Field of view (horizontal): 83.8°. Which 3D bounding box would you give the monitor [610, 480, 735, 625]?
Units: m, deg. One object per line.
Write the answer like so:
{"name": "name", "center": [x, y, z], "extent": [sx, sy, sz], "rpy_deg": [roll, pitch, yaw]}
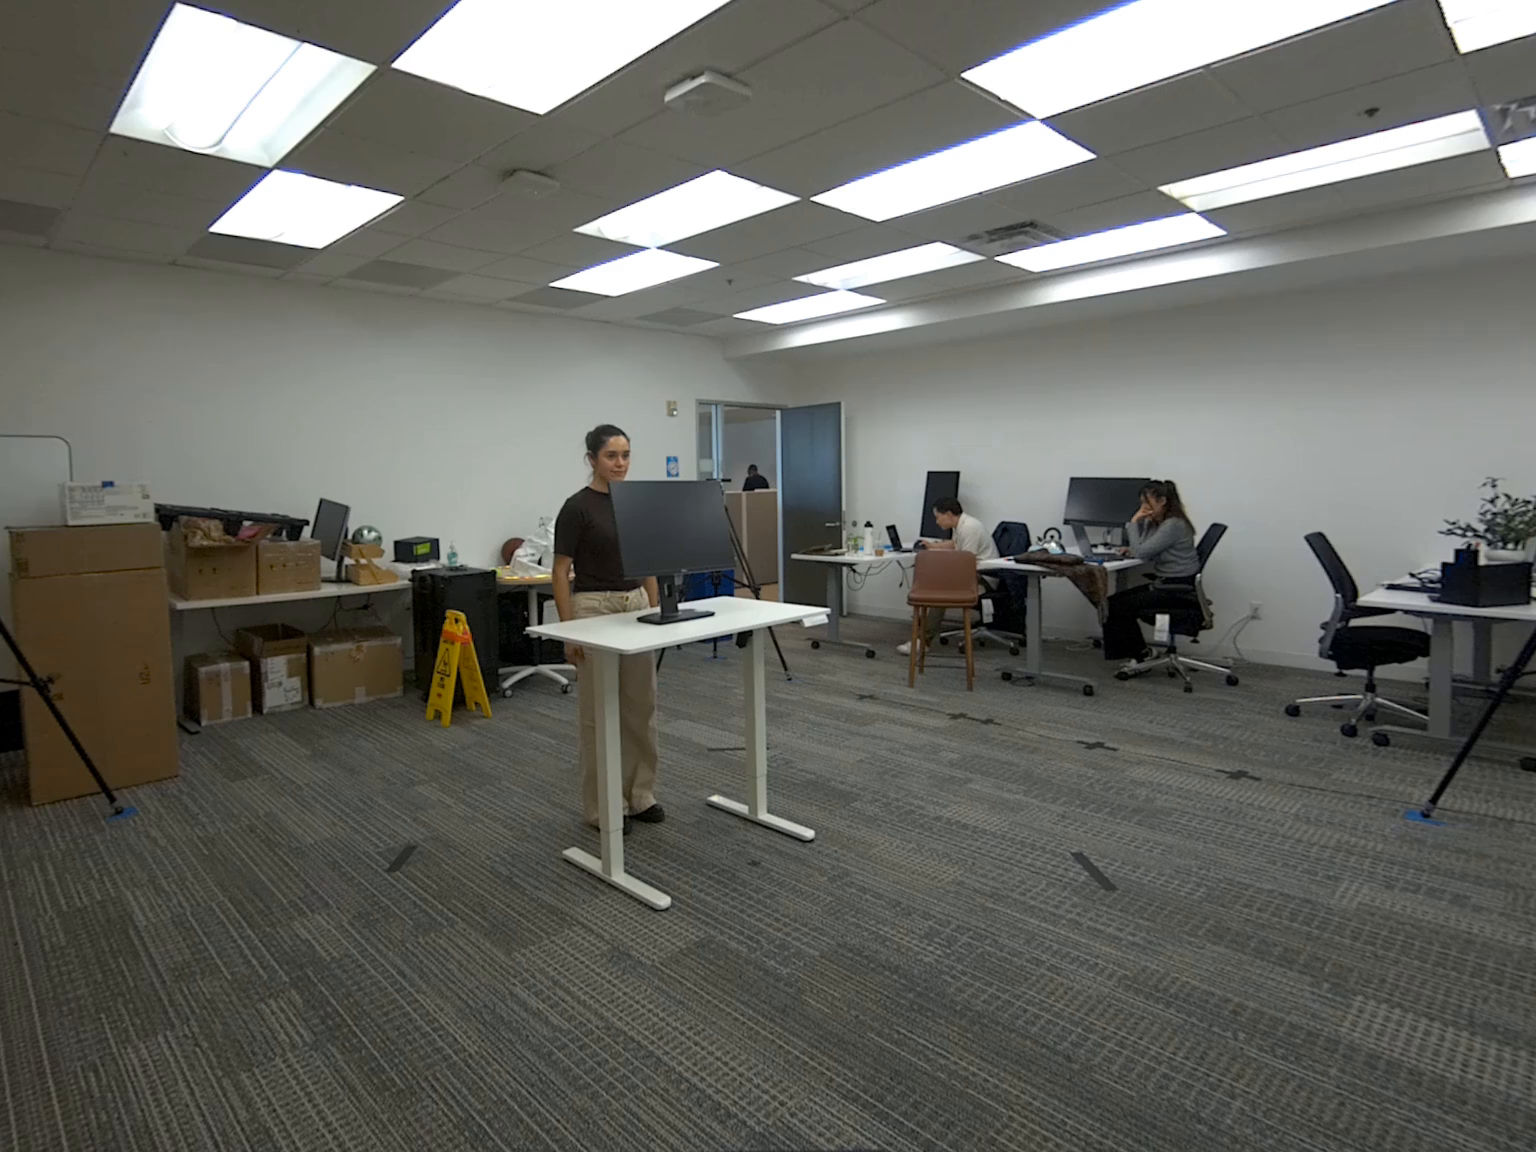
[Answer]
{"name": "monitor", "center": [-0.359, -0.095, 3.183], "extent": [0.192, 0.521, 0.525], "rpy_deg": [1, 4, 44]}
